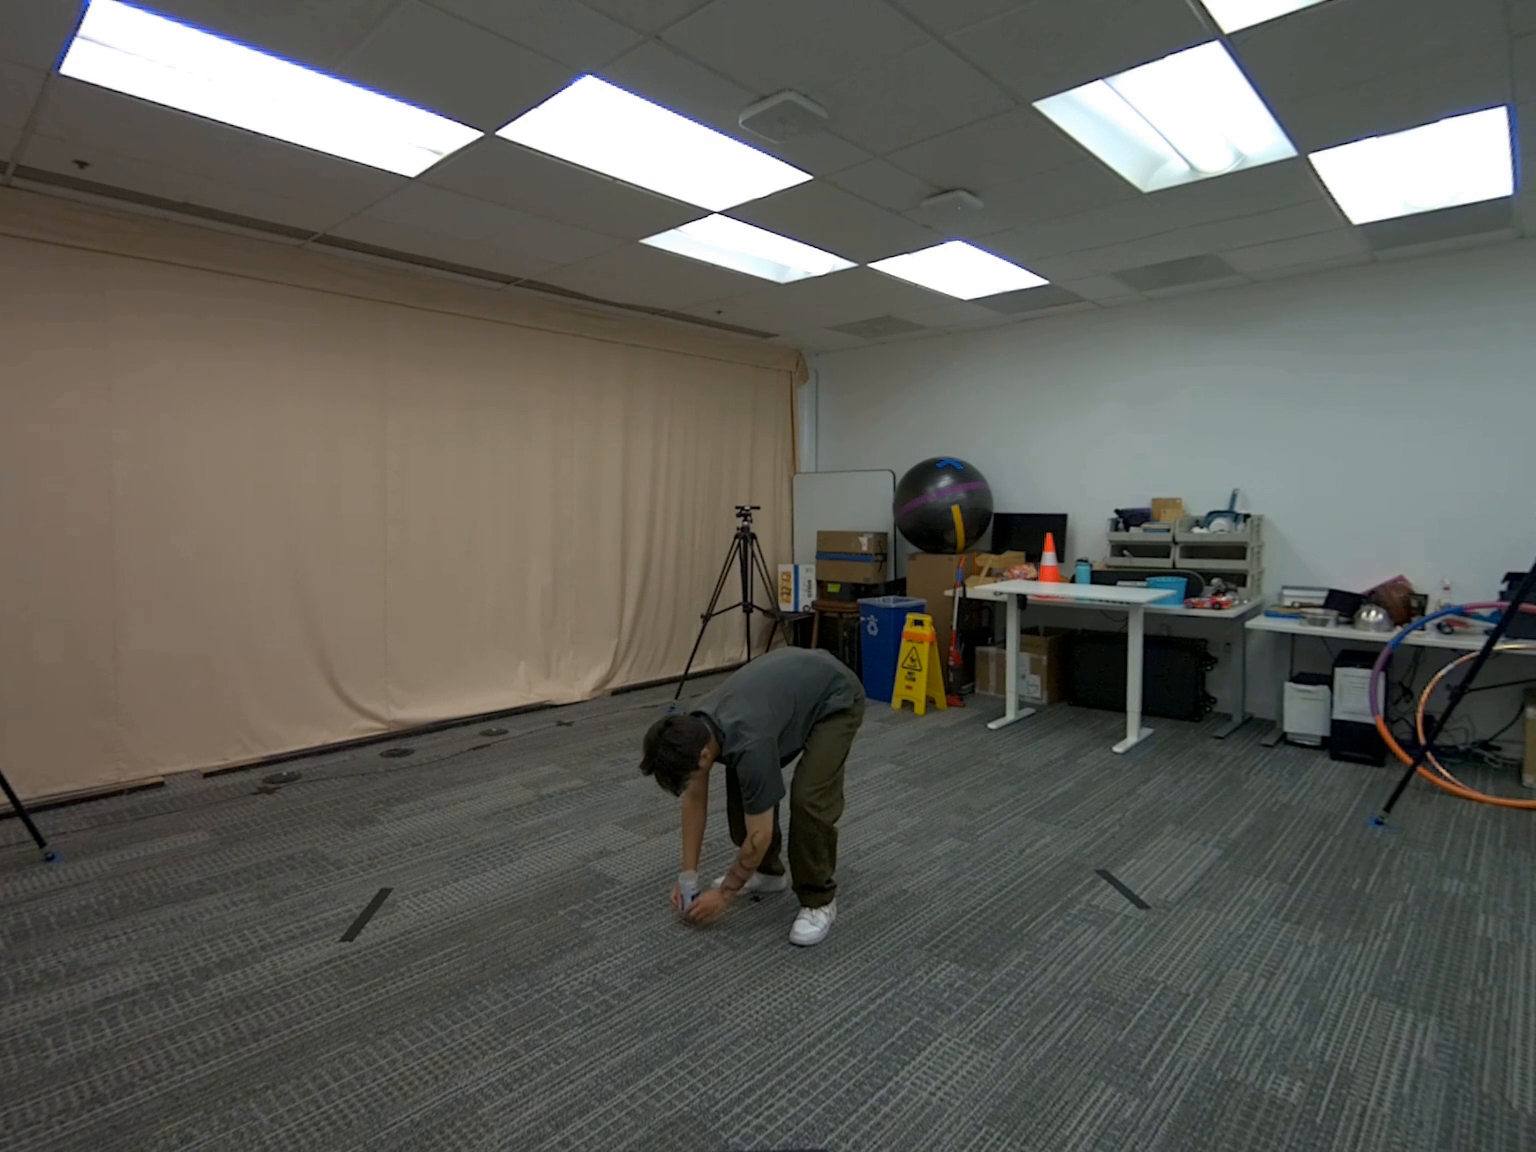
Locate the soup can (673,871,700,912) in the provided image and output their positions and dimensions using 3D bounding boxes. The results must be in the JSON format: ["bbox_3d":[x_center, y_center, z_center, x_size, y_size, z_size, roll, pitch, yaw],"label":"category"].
[{"bbox_3d":[-0.257,1.050,2.799,0.067,0.121,0.067,-2,3,-2],"label":"soup can"}]
